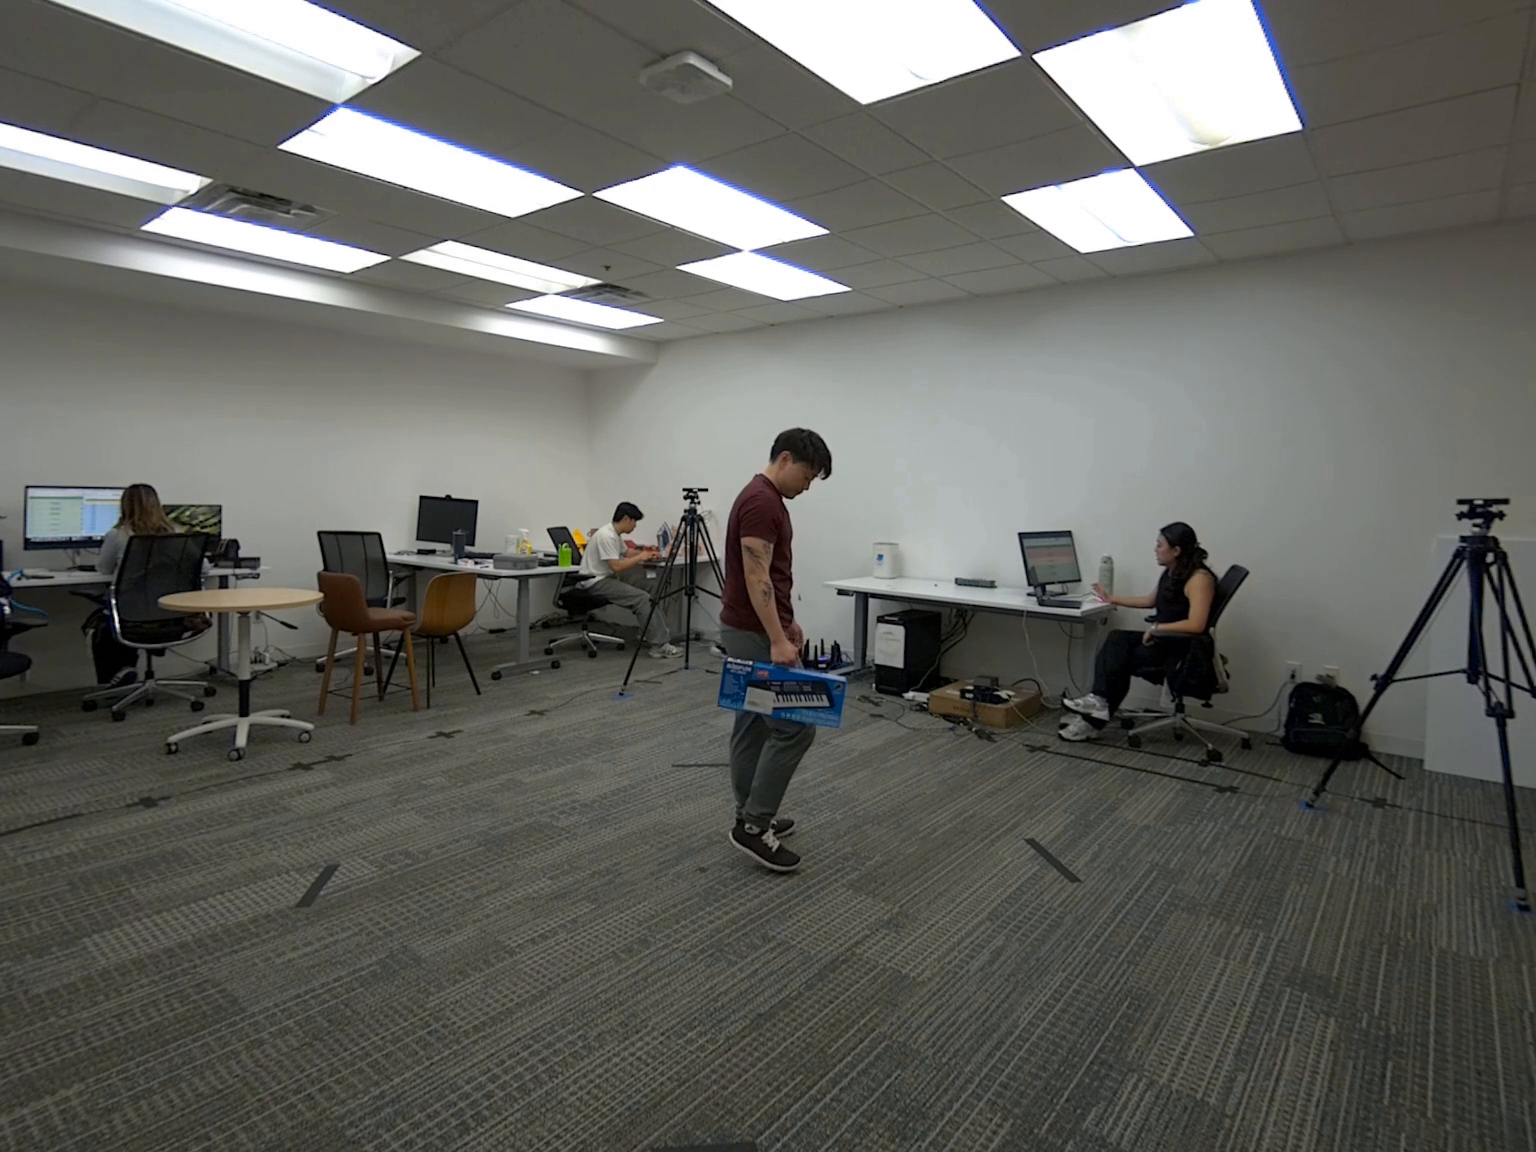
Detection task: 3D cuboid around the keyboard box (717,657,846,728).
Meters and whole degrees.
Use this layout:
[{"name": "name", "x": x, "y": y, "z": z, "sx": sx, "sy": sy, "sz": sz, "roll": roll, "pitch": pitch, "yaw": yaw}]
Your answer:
[{"name": "keyboard box", "x": 0.044, "y": 0.410, "z": 3.025, "sx": 0.440, "sy": 0.175, "sz": 0.059, "roll": 9, "pitch": 5, "yaw": 6}]
